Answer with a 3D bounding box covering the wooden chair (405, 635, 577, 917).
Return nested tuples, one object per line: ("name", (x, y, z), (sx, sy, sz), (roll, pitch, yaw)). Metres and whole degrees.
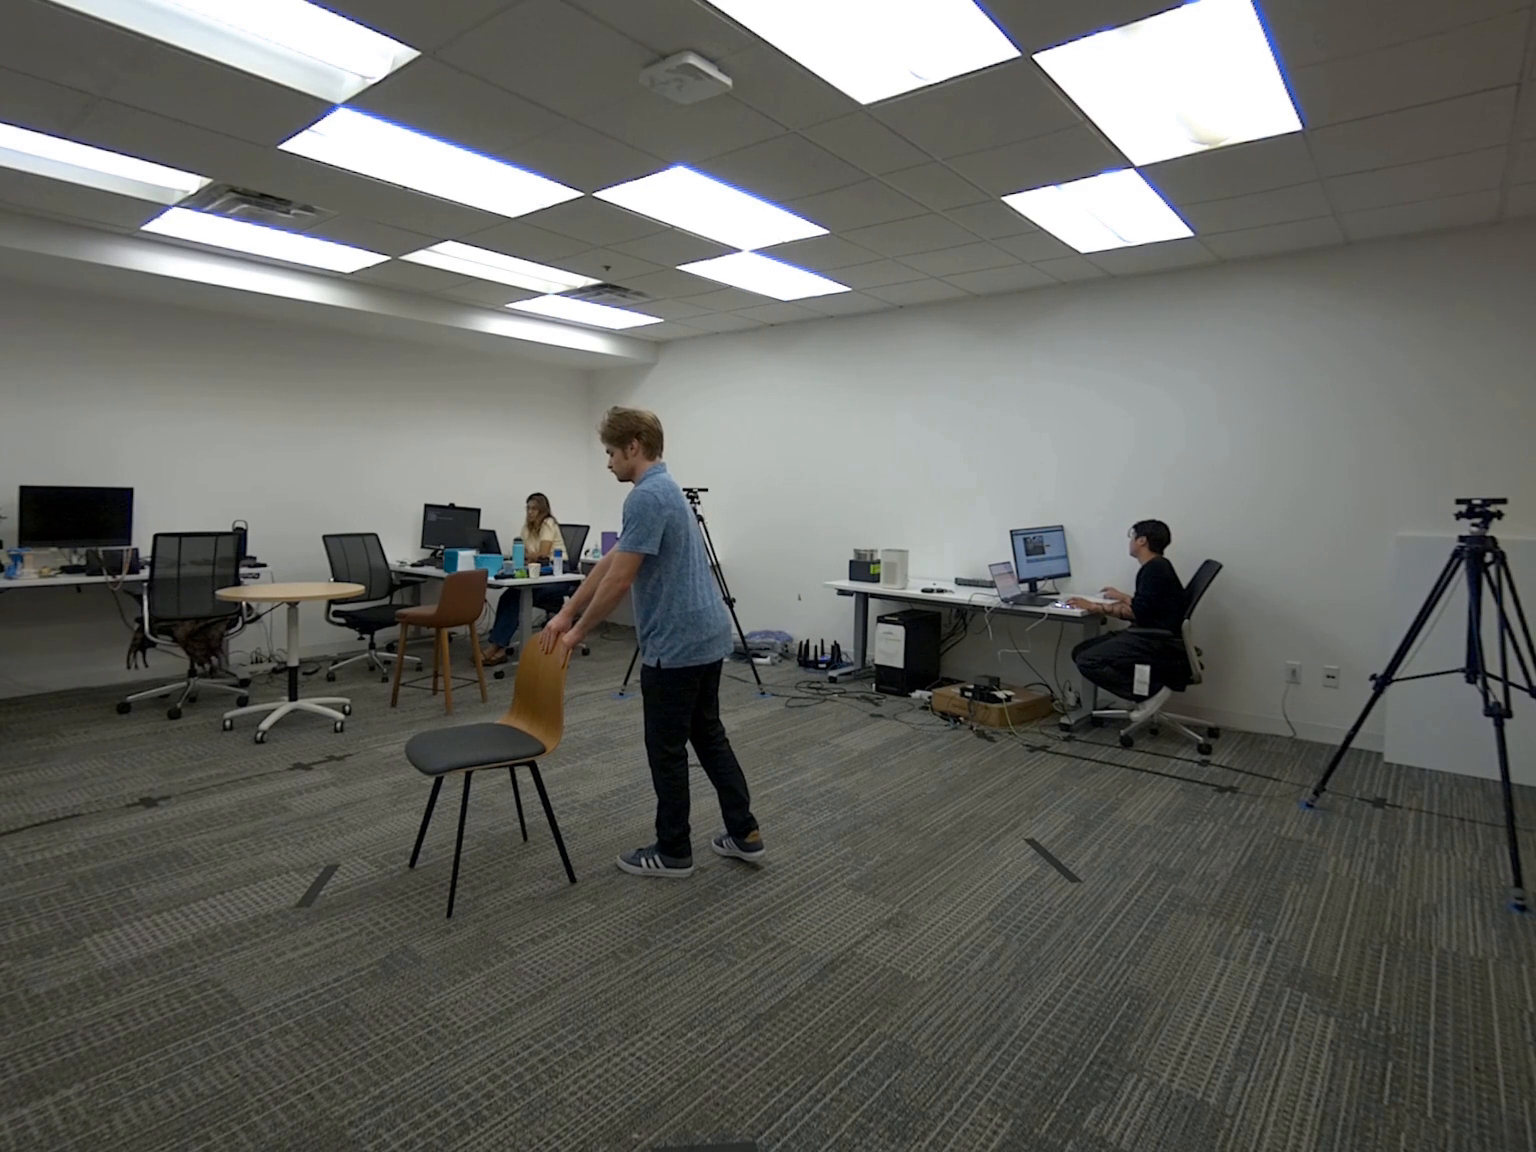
("wooden chair", (-0.999, 0.640, 3.006), (0.506, 0.877, 0.494), (4, 1, -38))
